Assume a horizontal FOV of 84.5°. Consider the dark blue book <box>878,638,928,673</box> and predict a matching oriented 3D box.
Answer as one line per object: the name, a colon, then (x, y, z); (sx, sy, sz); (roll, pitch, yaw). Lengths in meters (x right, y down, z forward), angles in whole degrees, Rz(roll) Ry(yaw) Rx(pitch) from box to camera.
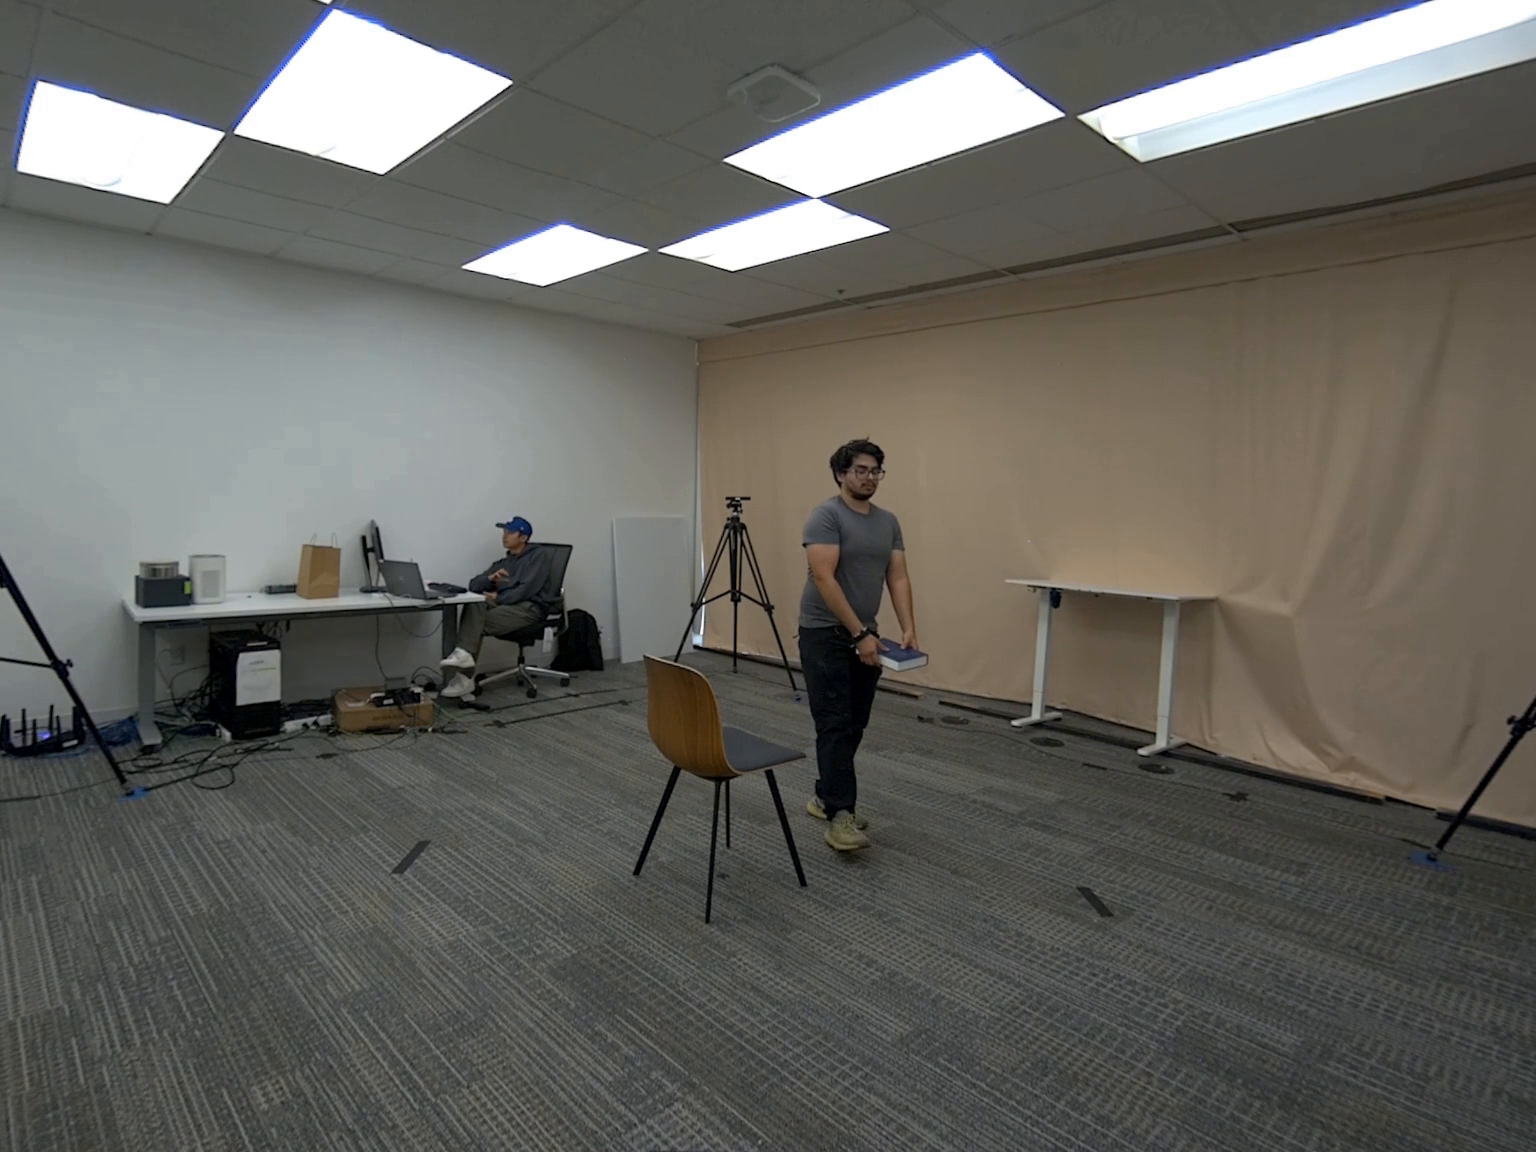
dark blue book: (0.479, 0.310, 3.326); (0.160, 0.045, 0.252); (-9, 15, -33)
